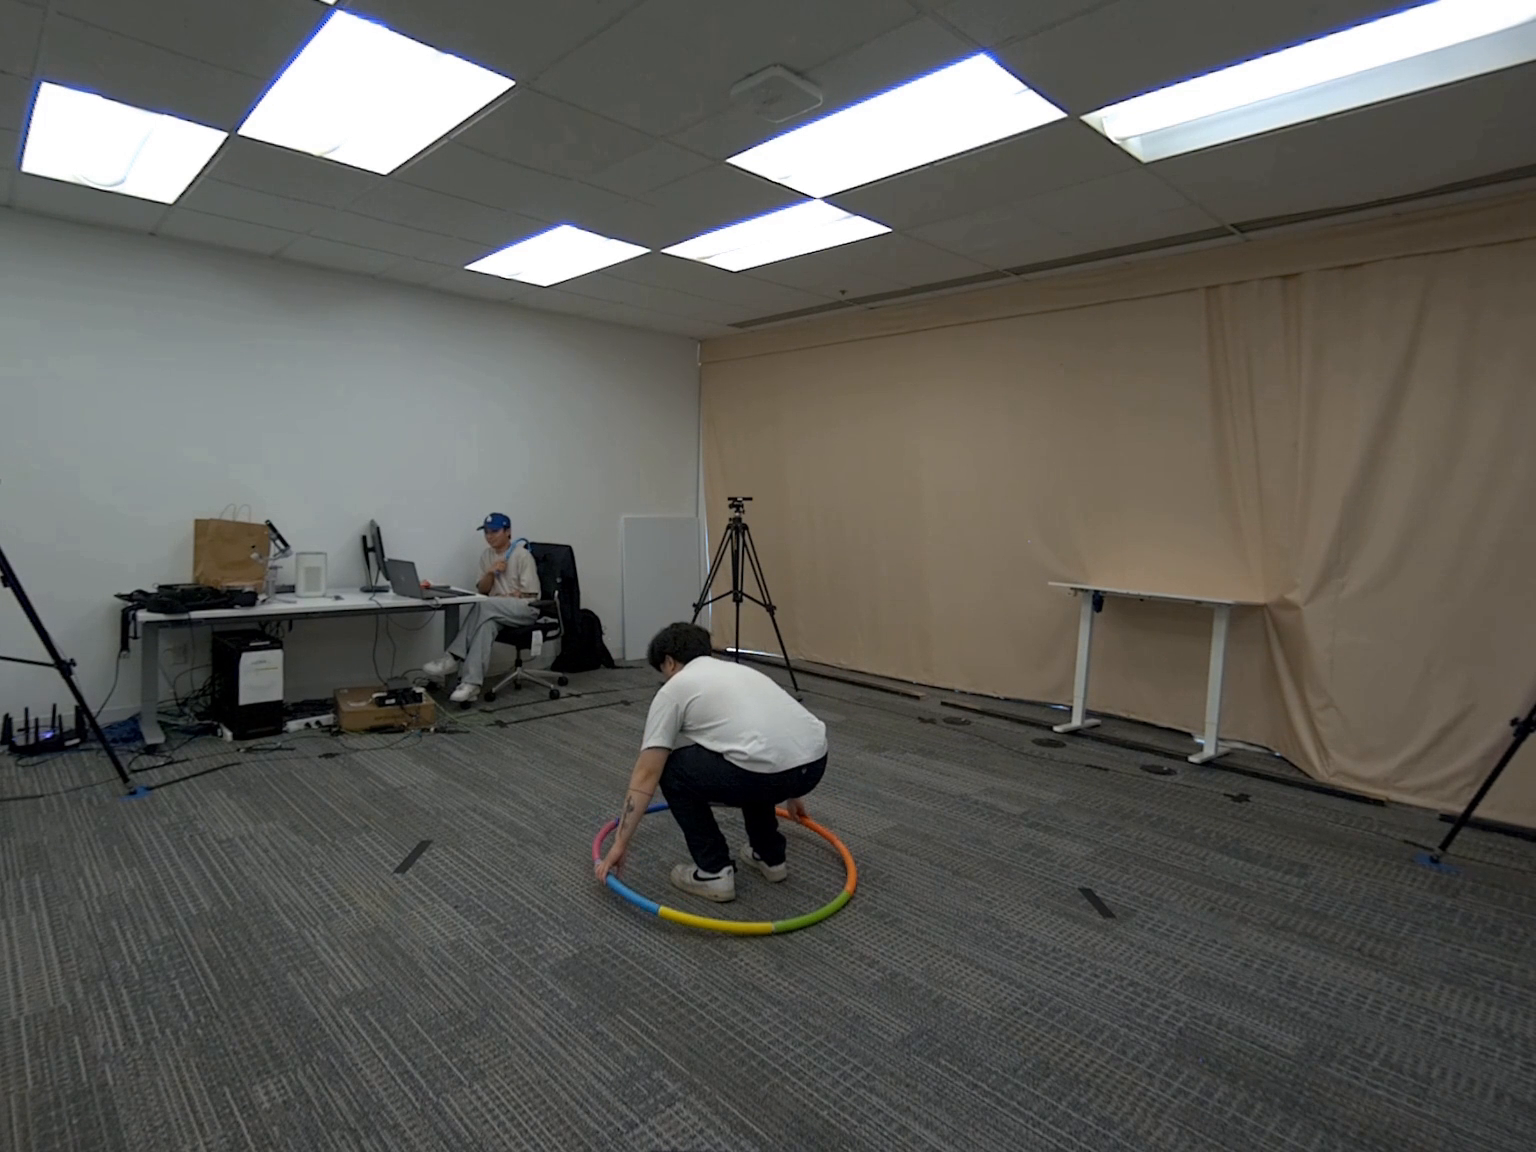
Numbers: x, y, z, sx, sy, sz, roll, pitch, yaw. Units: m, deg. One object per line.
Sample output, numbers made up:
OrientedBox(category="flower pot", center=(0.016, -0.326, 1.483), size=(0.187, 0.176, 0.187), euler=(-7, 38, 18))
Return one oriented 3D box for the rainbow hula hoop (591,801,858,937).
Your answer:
OrientedBox(category="rainbow hula hoop", center=(-0.168, 1.032, 3.139), size=(0.984, 0.051, 0.992), euler=(5, 9, -2))
